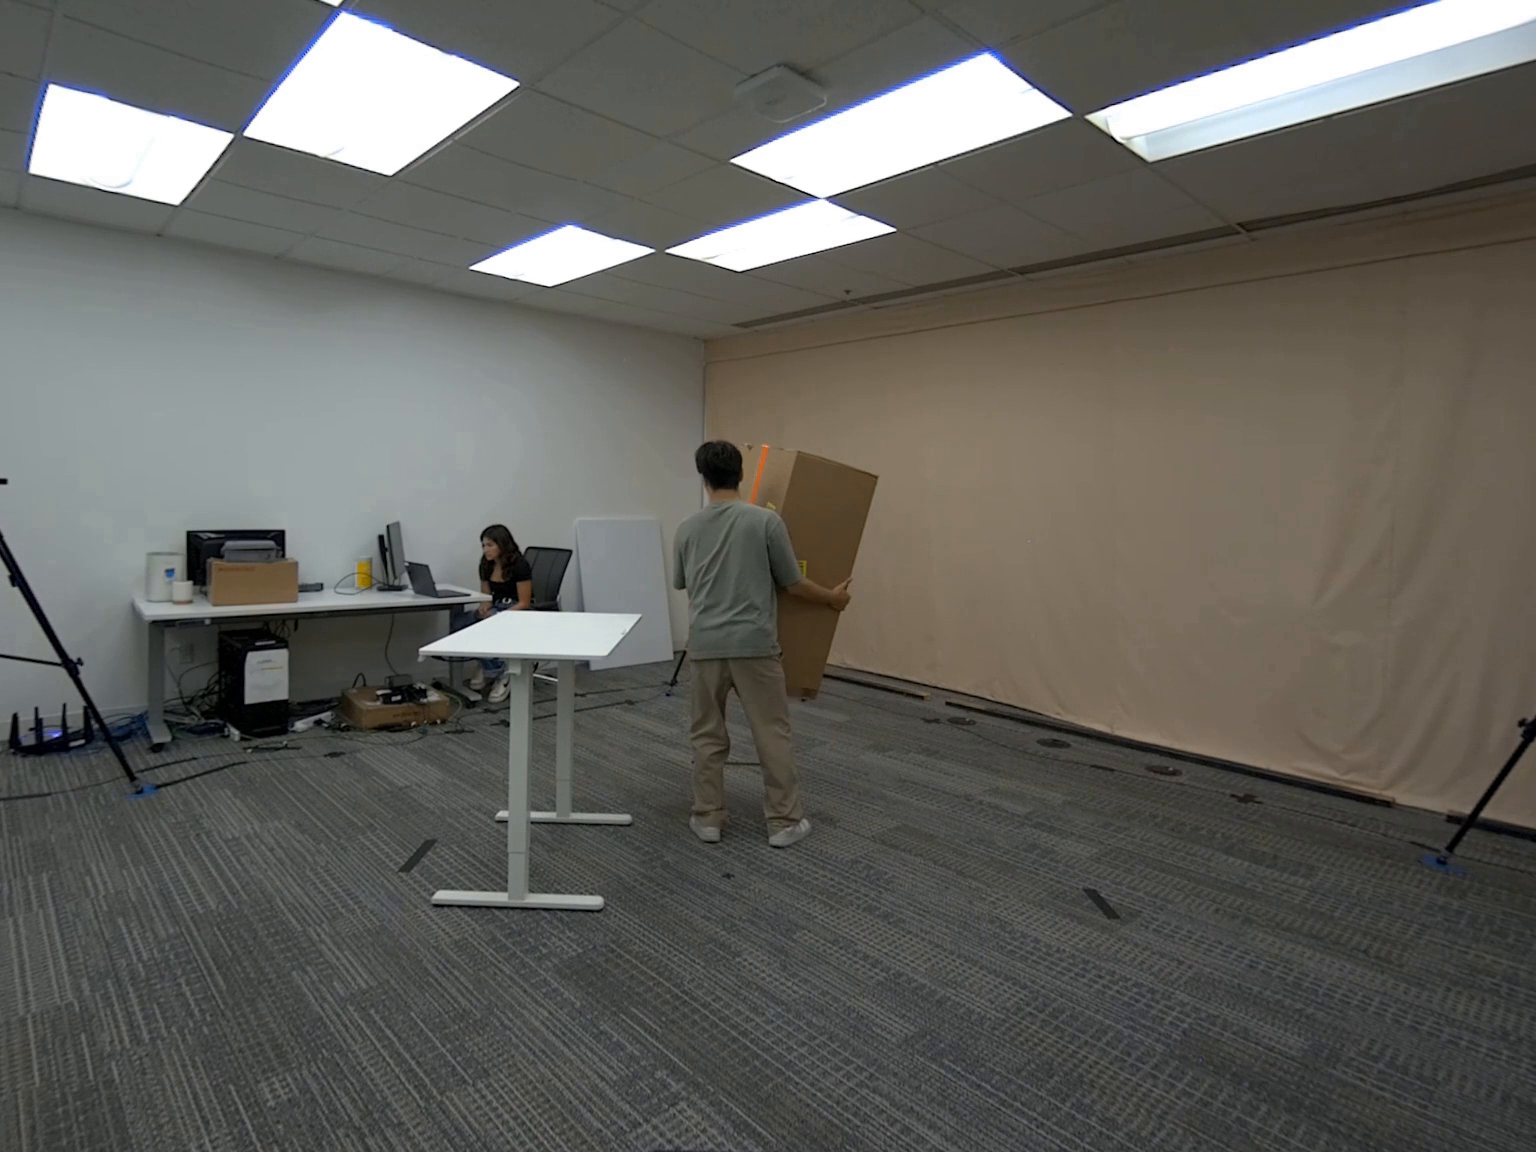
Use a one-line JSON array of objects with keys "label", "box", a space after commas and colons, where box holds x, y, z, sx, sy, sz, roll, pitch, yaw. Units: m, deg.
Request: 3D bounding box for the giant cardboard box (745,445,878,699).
[{"label": "giant cardboard box", "box": [0.037, -0.040, 3.819, 0.416, 1.024, 0.592, 14, 4, -28]}]
